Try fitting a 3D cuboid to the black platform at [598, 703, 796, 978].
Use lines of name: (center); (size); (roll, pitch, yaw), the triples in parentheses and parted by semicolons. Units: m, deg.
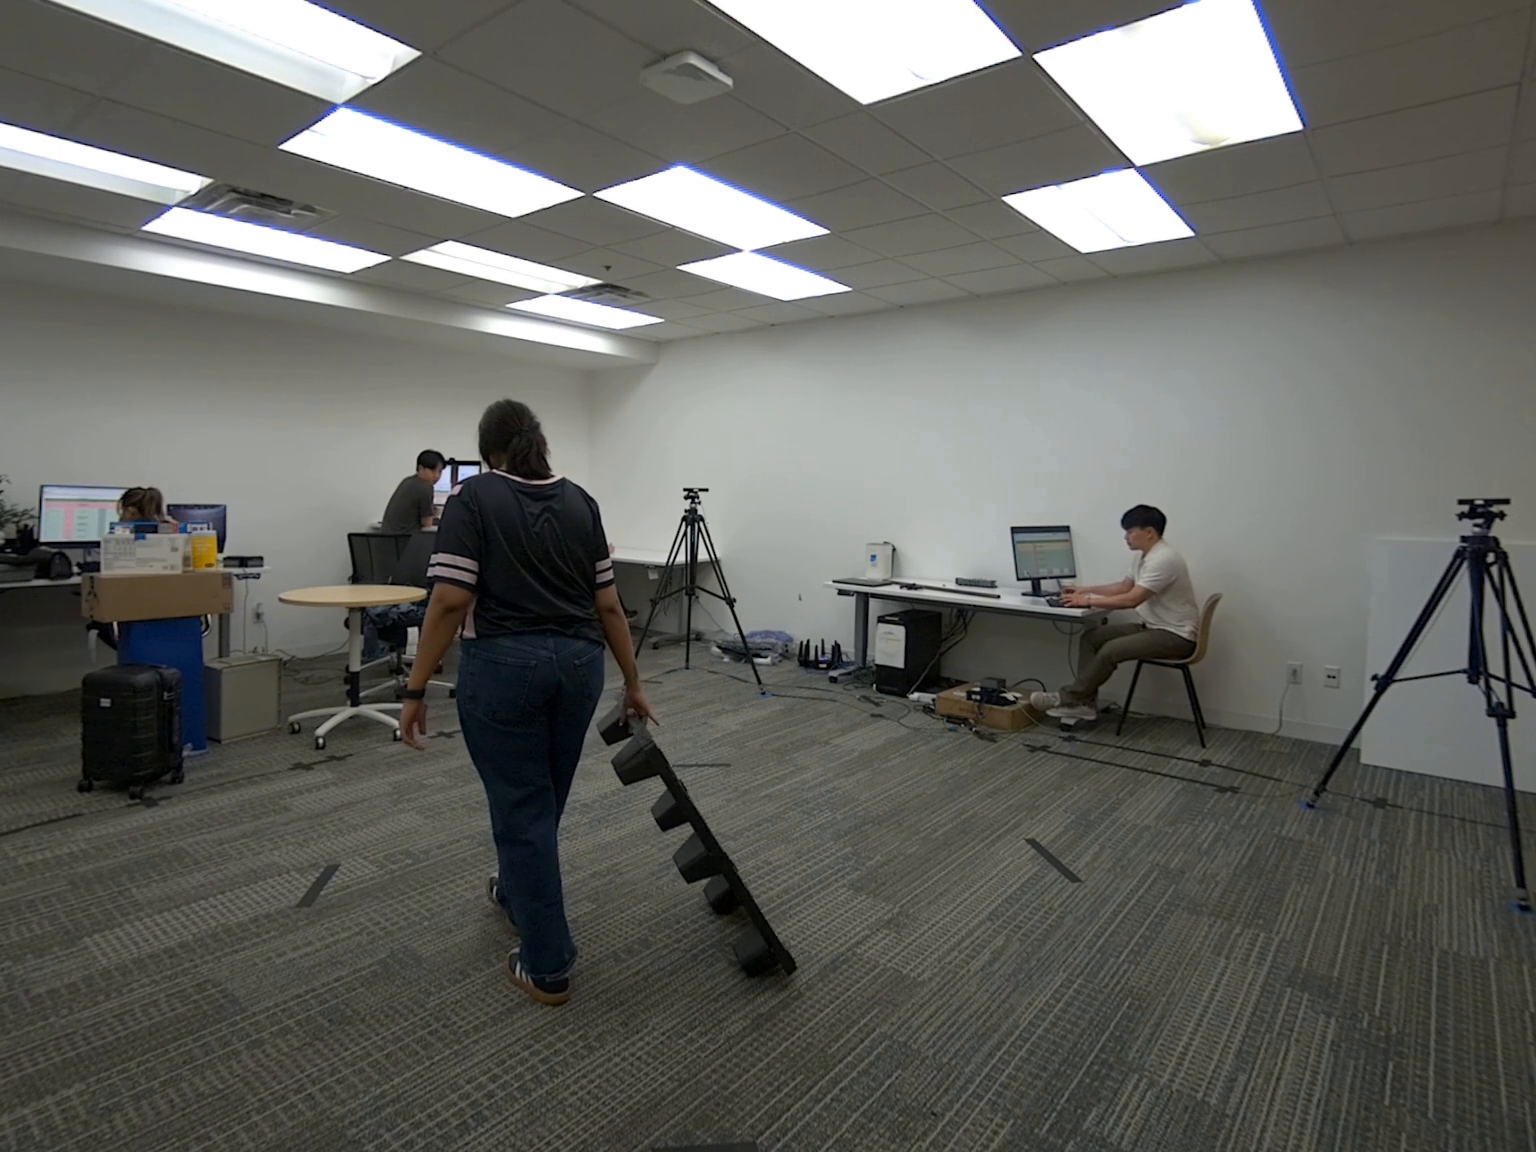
black platform: (-0.254, 0.776, 2.589); (0.142, 0.796, 0.616); (-32, 10, -12)
